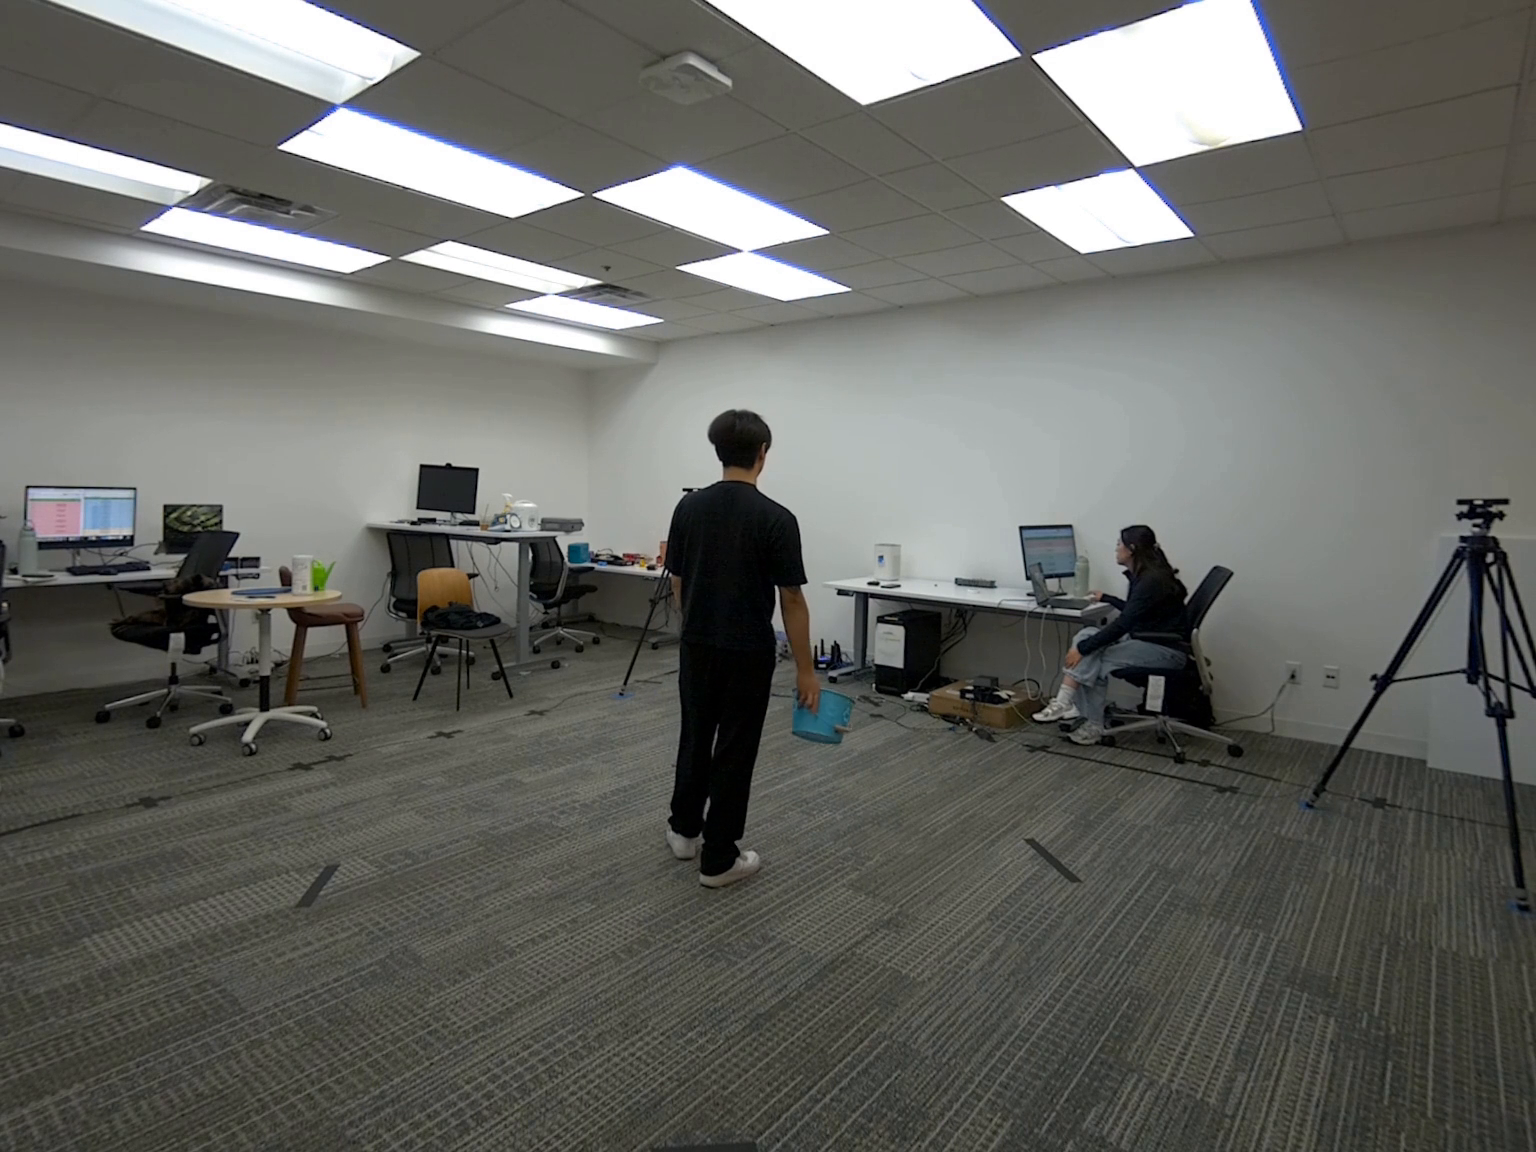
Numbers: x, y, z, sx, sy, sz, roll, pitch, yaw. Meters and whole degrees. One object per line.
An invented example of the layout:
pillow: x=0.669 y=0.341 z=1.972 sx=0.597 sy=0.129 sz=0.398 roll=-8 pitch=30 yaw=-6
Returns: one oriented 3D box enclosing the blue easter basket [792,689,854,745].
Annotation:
blue easter basket: x=0.174 y=0.498 z=3.054 sx=0.245 sy=0.158 sz=0.239 roll=11 pitch=-20 yaw=2
